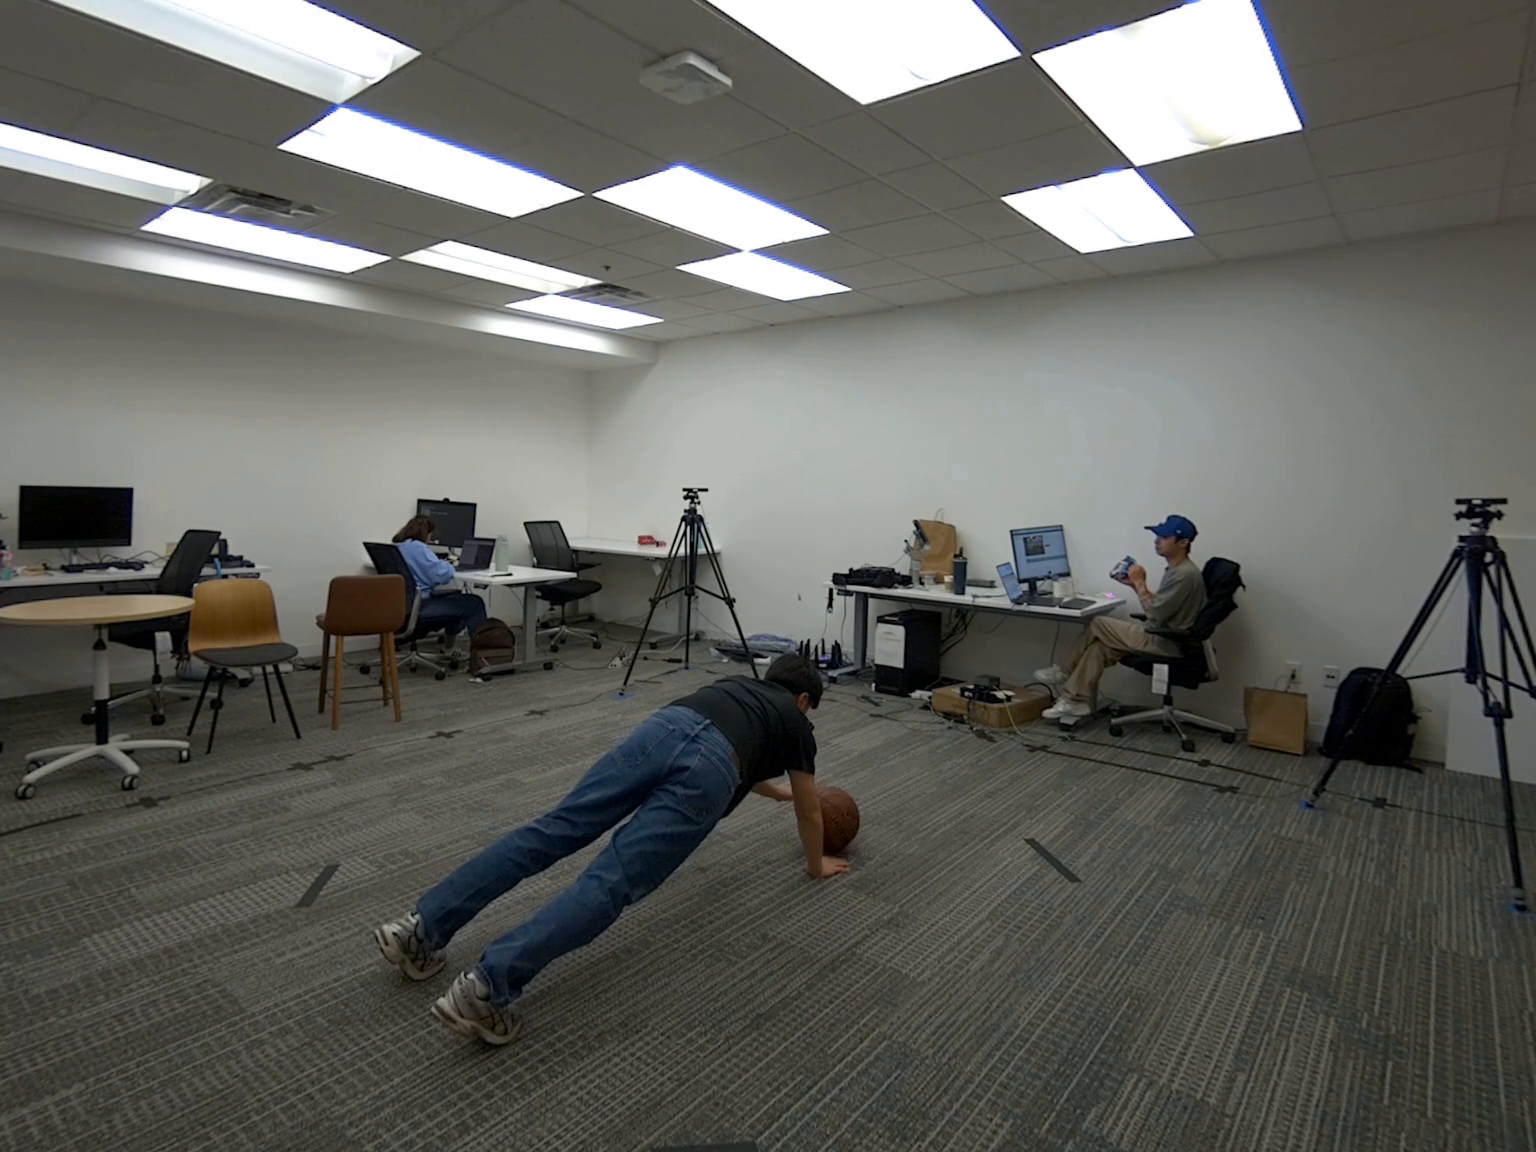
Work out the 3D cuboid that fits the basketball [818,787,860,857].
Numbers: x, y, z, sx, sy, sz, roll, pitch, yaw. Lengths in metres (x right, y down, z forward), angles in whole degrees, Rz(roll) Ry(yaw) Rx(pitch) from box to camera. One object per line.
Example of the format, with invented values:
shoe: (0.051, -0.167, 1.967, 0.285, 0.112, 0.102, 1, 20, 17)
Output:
basketball: (0.231, 0.935, 3.307, 0.235, 0.235, 0.237, 1, 4, -2)
